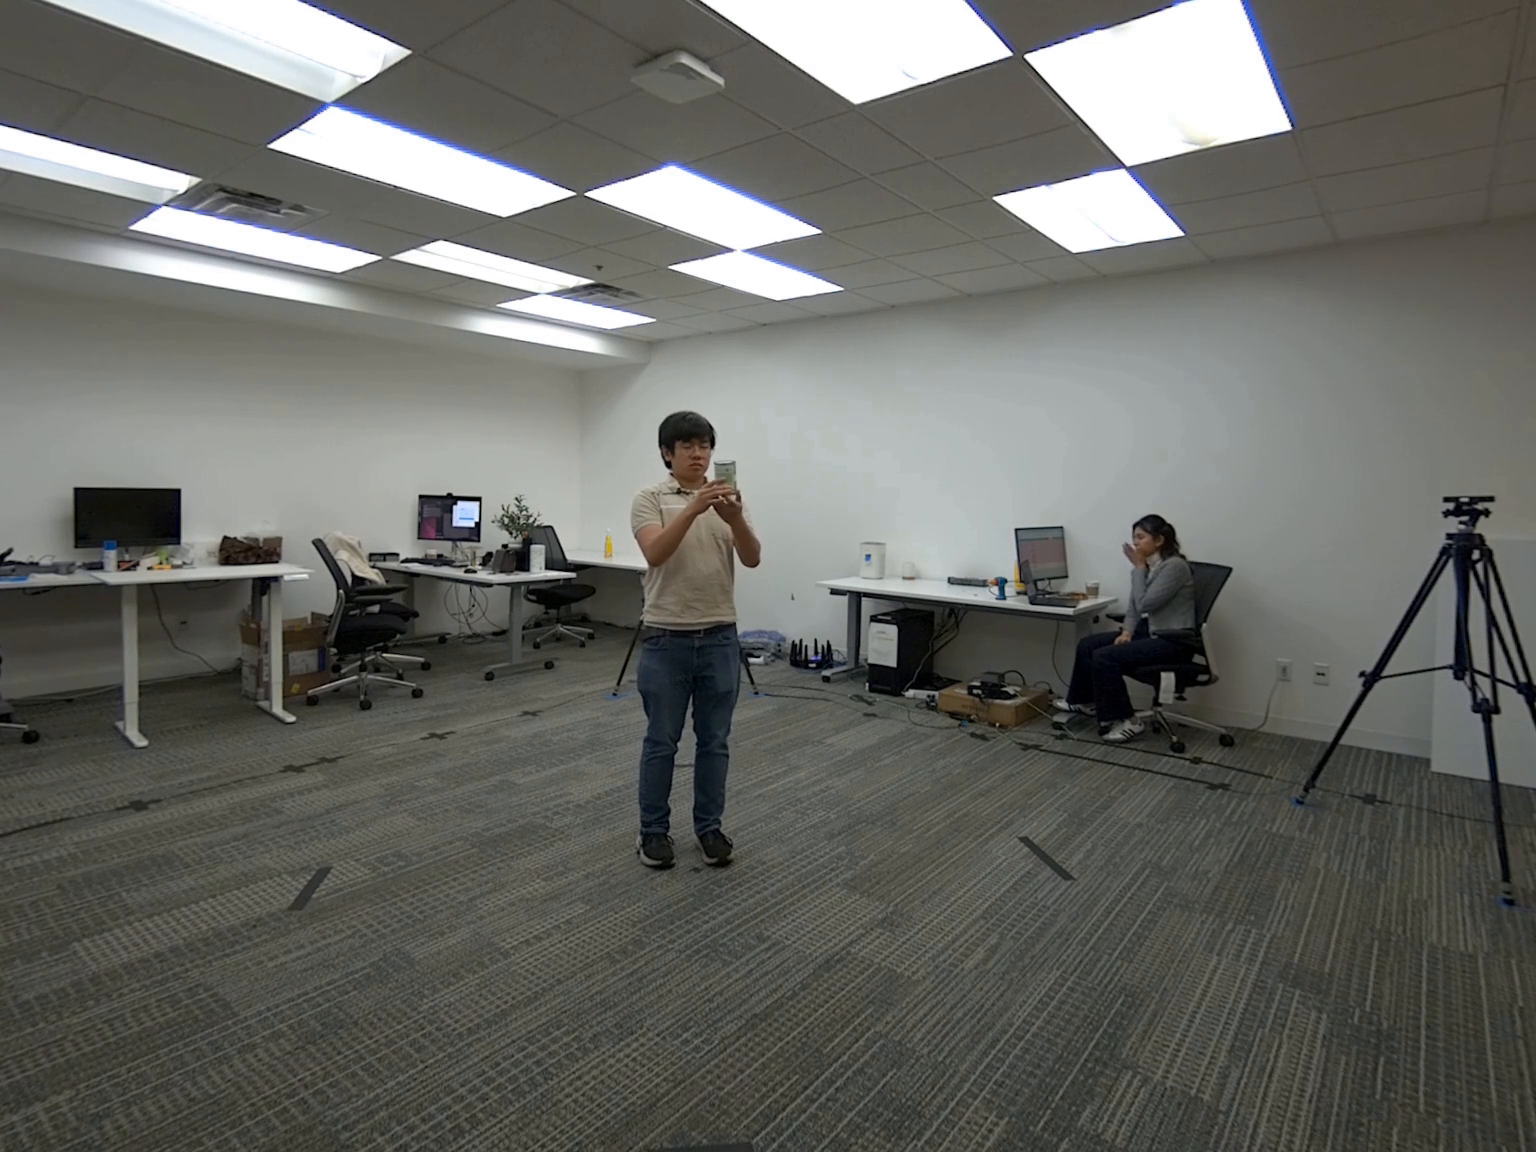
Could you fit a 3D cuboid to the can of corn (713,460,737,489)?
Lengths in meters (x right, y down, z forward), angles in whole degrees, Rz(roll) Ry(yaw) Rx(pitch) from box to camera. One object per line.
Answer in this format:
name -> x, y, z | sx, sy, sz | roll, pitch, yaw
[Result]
can of corn -> -0.155, -0.343, 2.944 | 0.074, 0.110, 0.075 | 3, 10, -2
